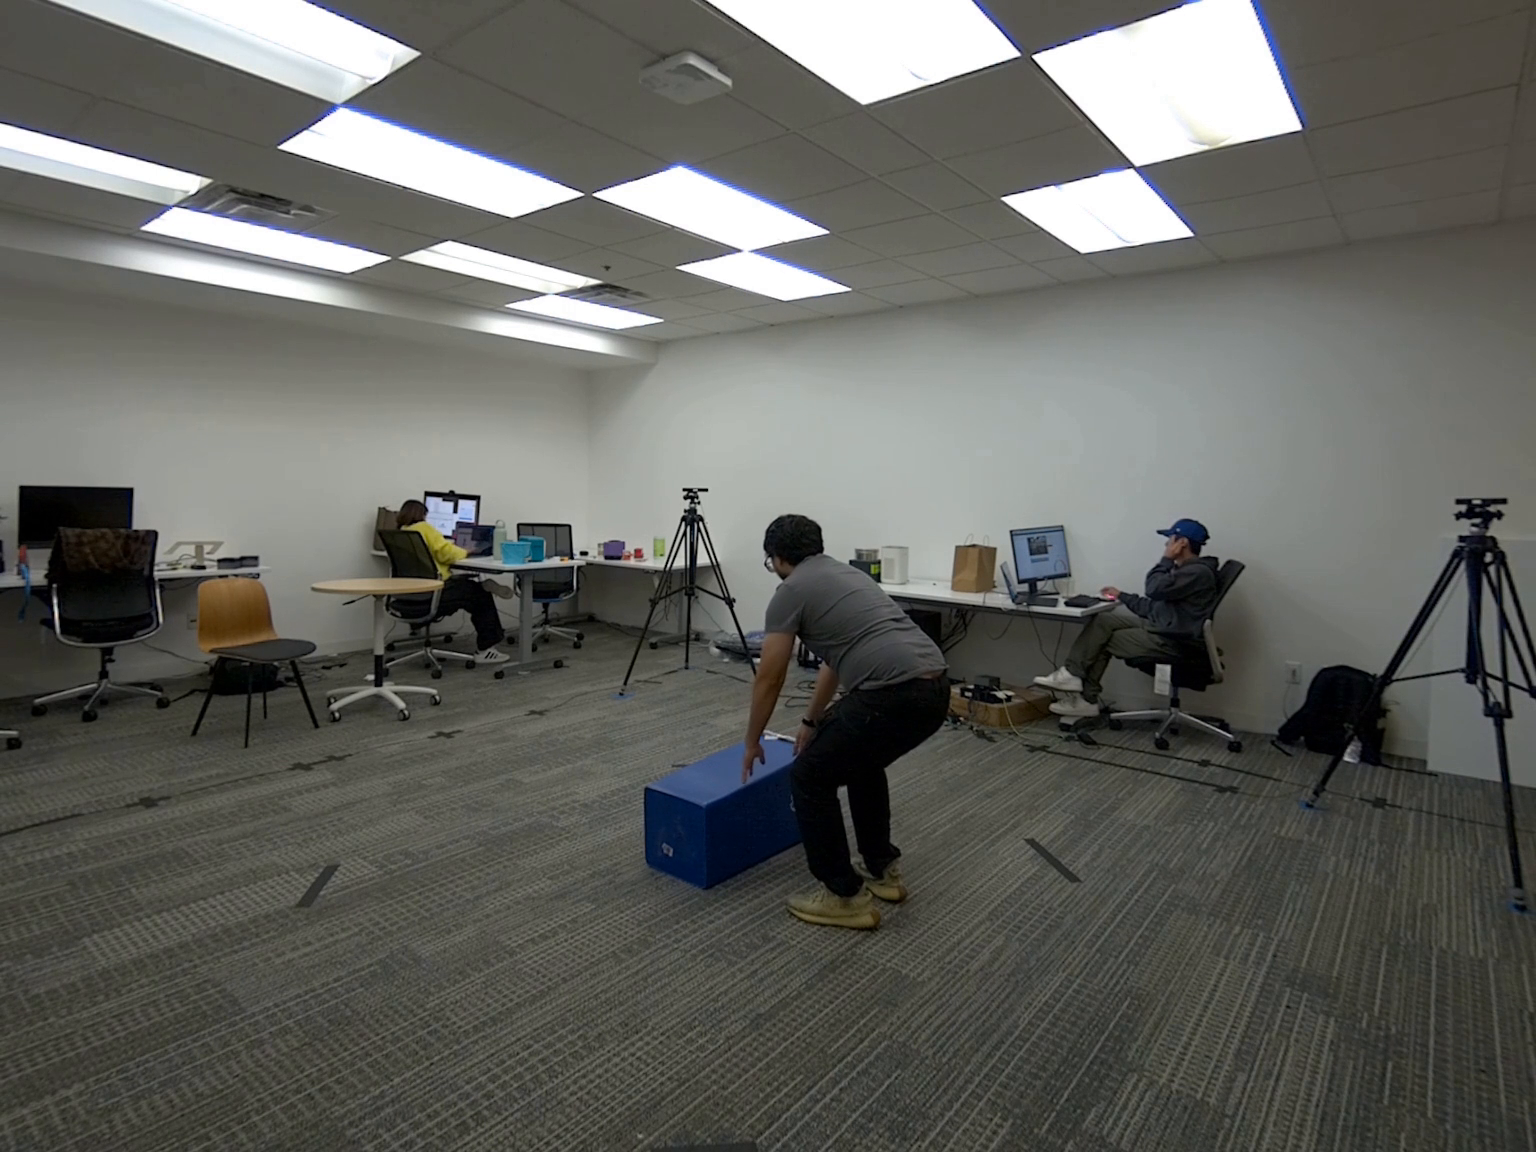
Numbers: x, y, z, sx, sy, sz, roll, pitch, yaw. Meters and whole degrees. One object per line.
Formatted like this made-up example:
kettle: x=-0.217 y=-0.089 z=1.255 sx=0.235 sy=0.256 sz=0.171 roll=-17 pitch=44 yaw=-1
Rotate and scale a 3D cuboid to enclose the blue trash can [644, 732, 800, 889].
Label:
blue trash can: x=-0.137 y=0.880 z=3.294 sx=0.387 sy=0.376 sz=0.693 roll=5 pitch=8 yaw=39
